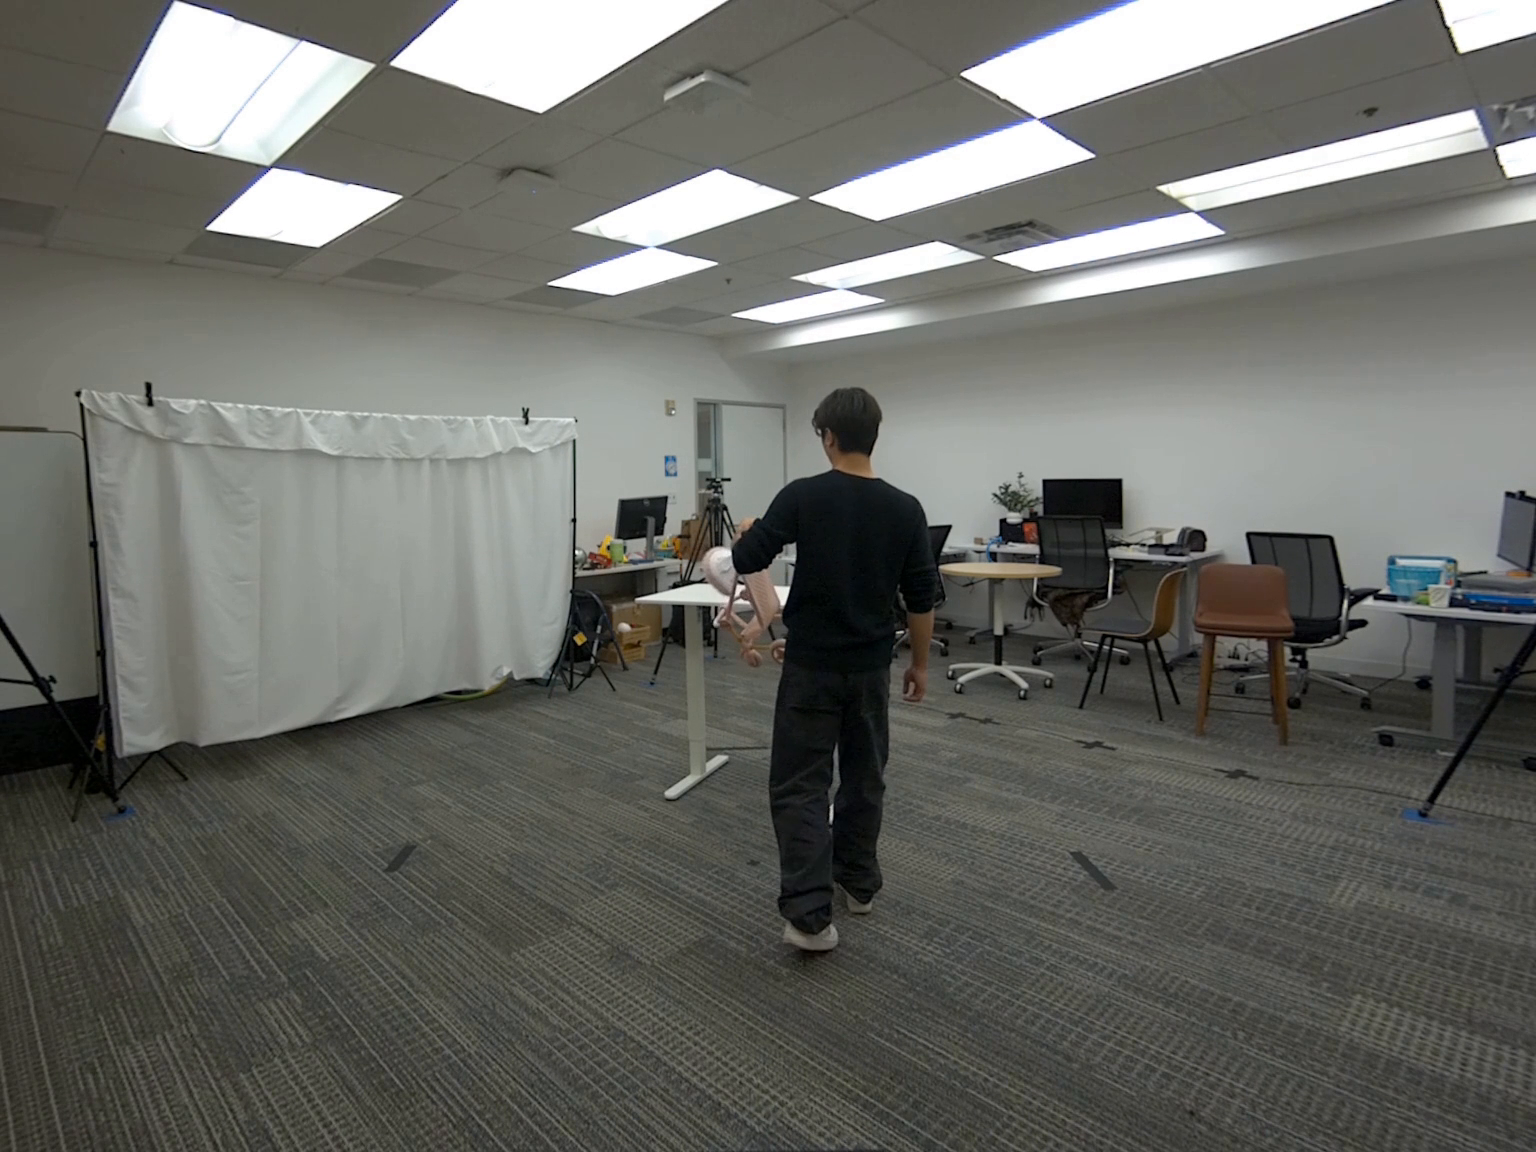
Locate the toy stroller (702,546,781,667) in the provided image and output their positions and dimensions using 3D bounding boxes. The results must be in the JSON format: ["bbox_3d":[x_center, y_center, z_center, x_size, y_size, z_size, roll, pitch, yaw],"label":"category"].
[{"bbox_3d":[-0.059,0.094,3.074,0.348,0.524,0.282,-17,22,39],"label":"toy stroller"}]
